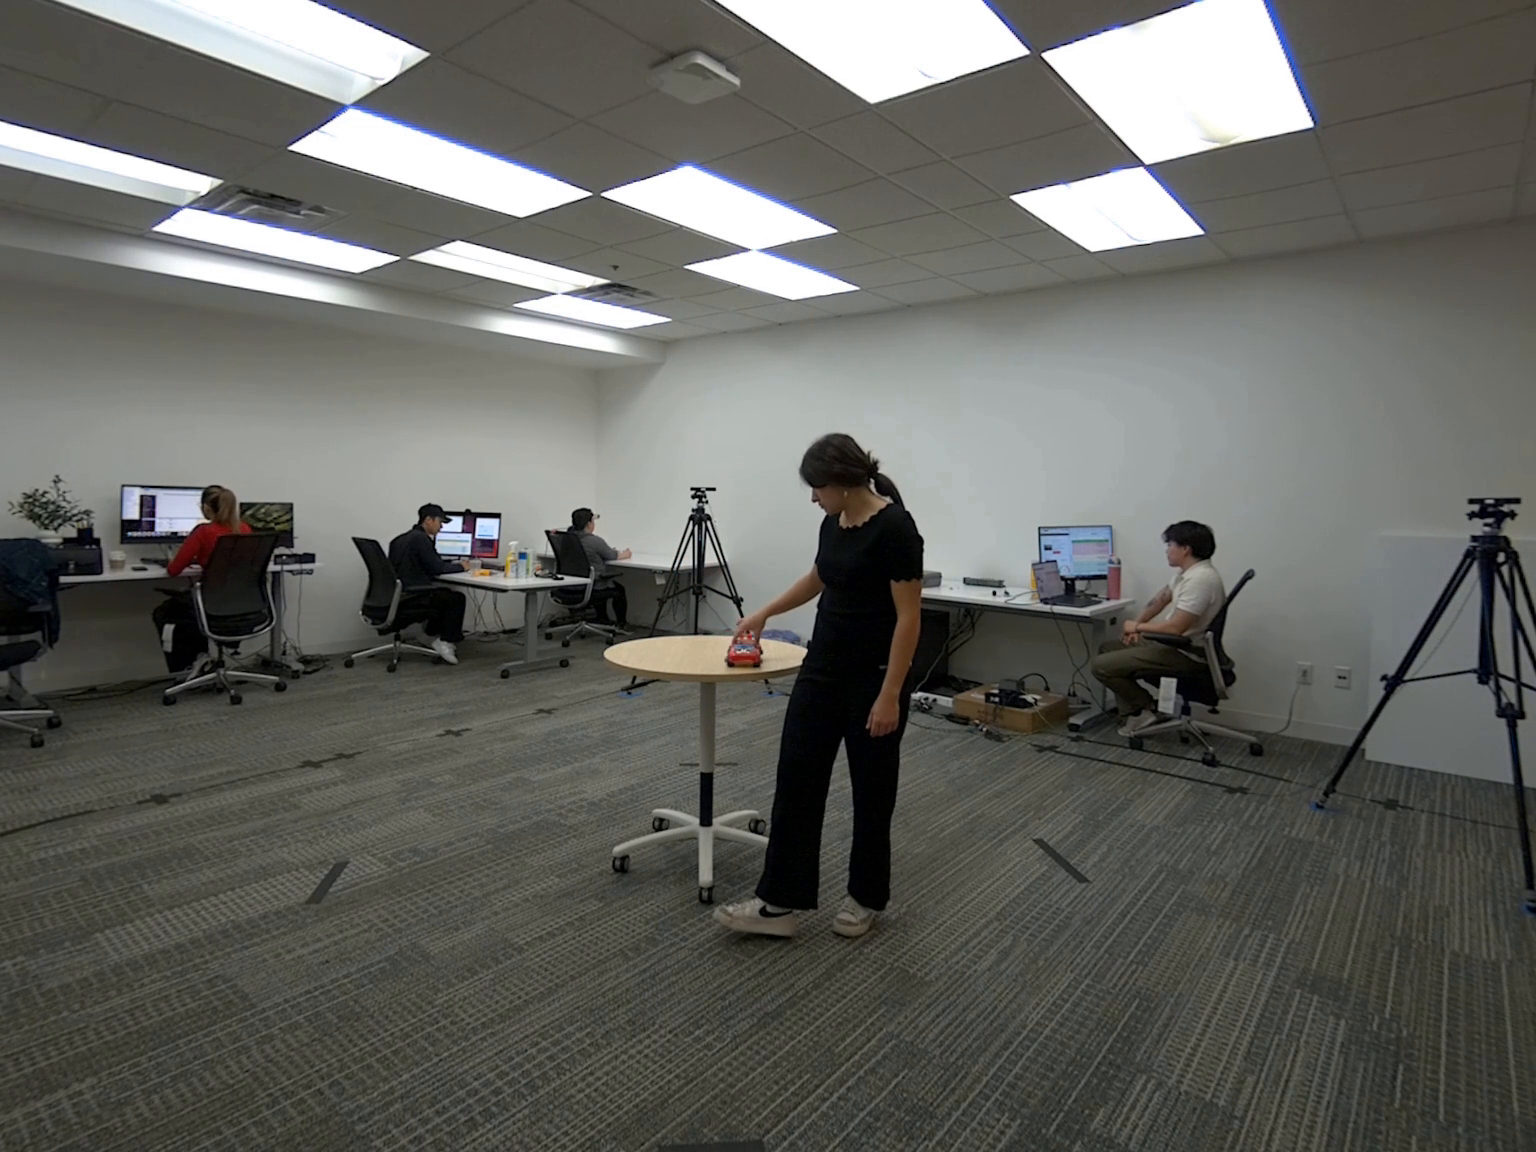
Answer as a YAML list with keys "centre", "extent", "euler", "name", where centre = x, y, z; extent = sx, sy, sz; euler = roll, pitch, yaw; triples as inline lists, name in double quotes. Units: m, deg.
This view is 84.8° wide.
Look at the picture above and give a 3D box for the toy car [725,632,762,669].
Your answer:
- centre: [-0.093, 0.264, 2.979]
  extent: [0.131, 0.082, 0.257]
  euler: [1, 16, 1]
  name: "toy car"
